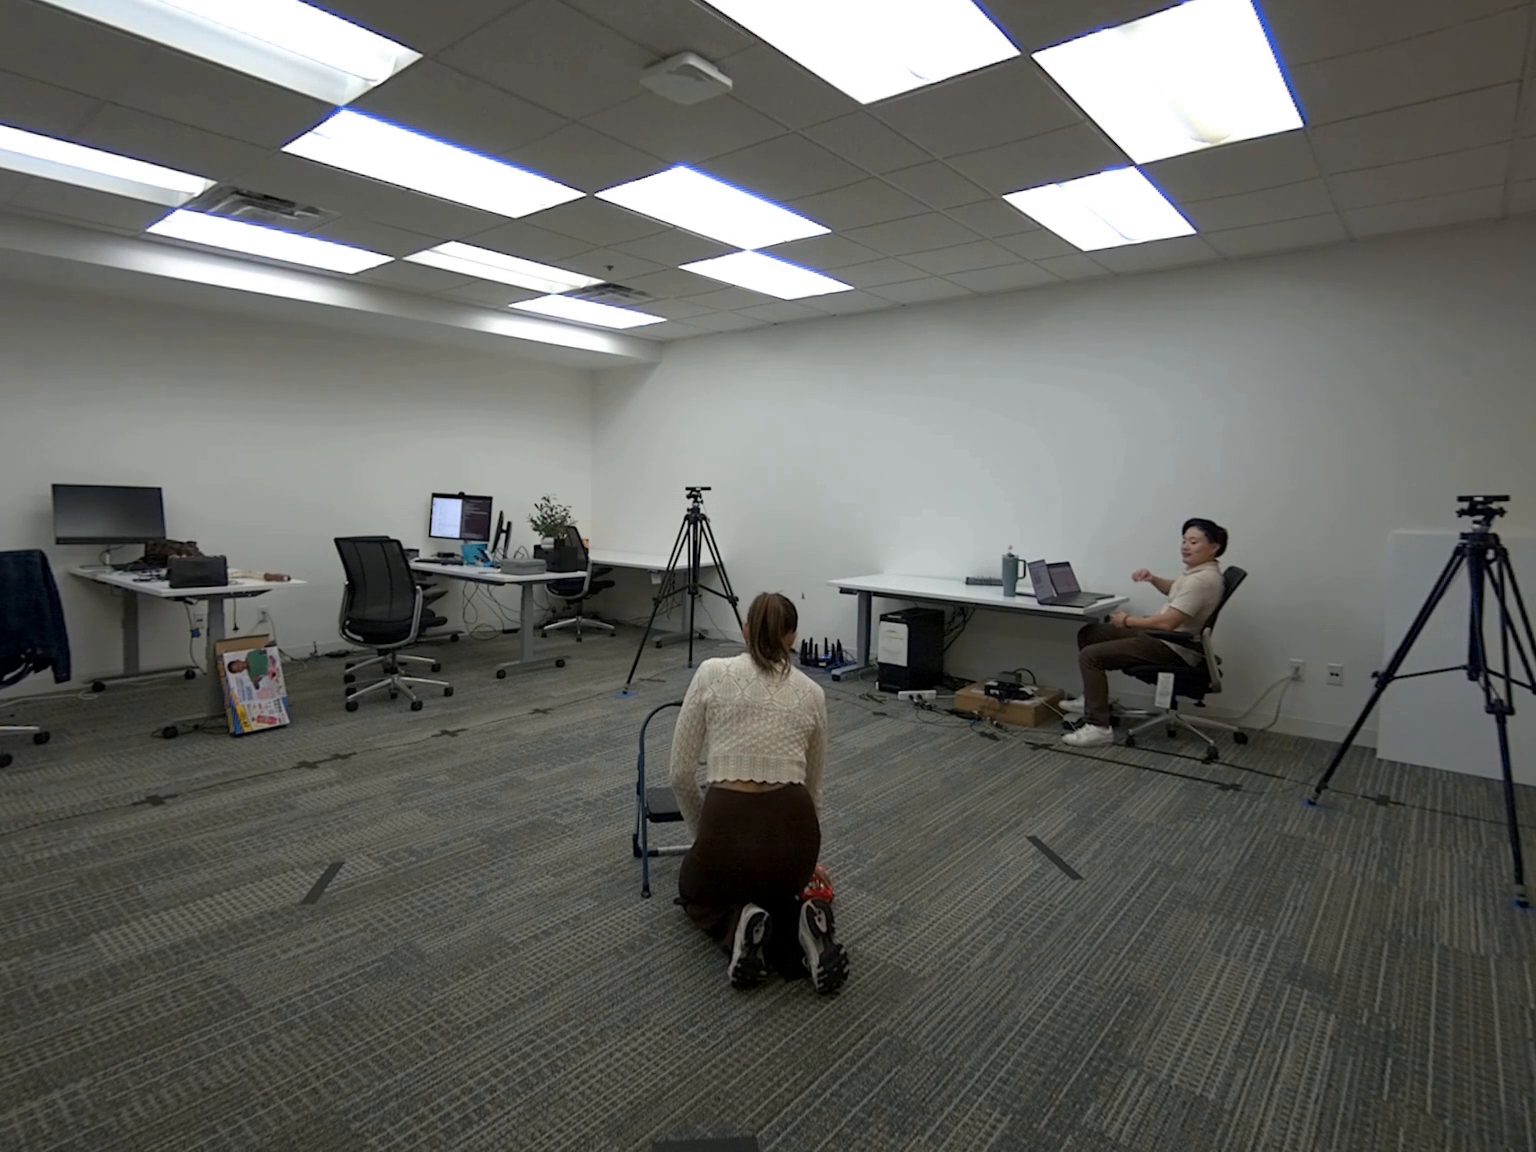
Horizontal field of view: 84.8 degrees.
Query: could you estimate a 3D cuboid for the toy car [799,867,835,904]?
[{"bbox_3d":[0.155,1.064,2.932,0.129,0.083,0.255,1,-4,-7],"label":"toy car"}]
